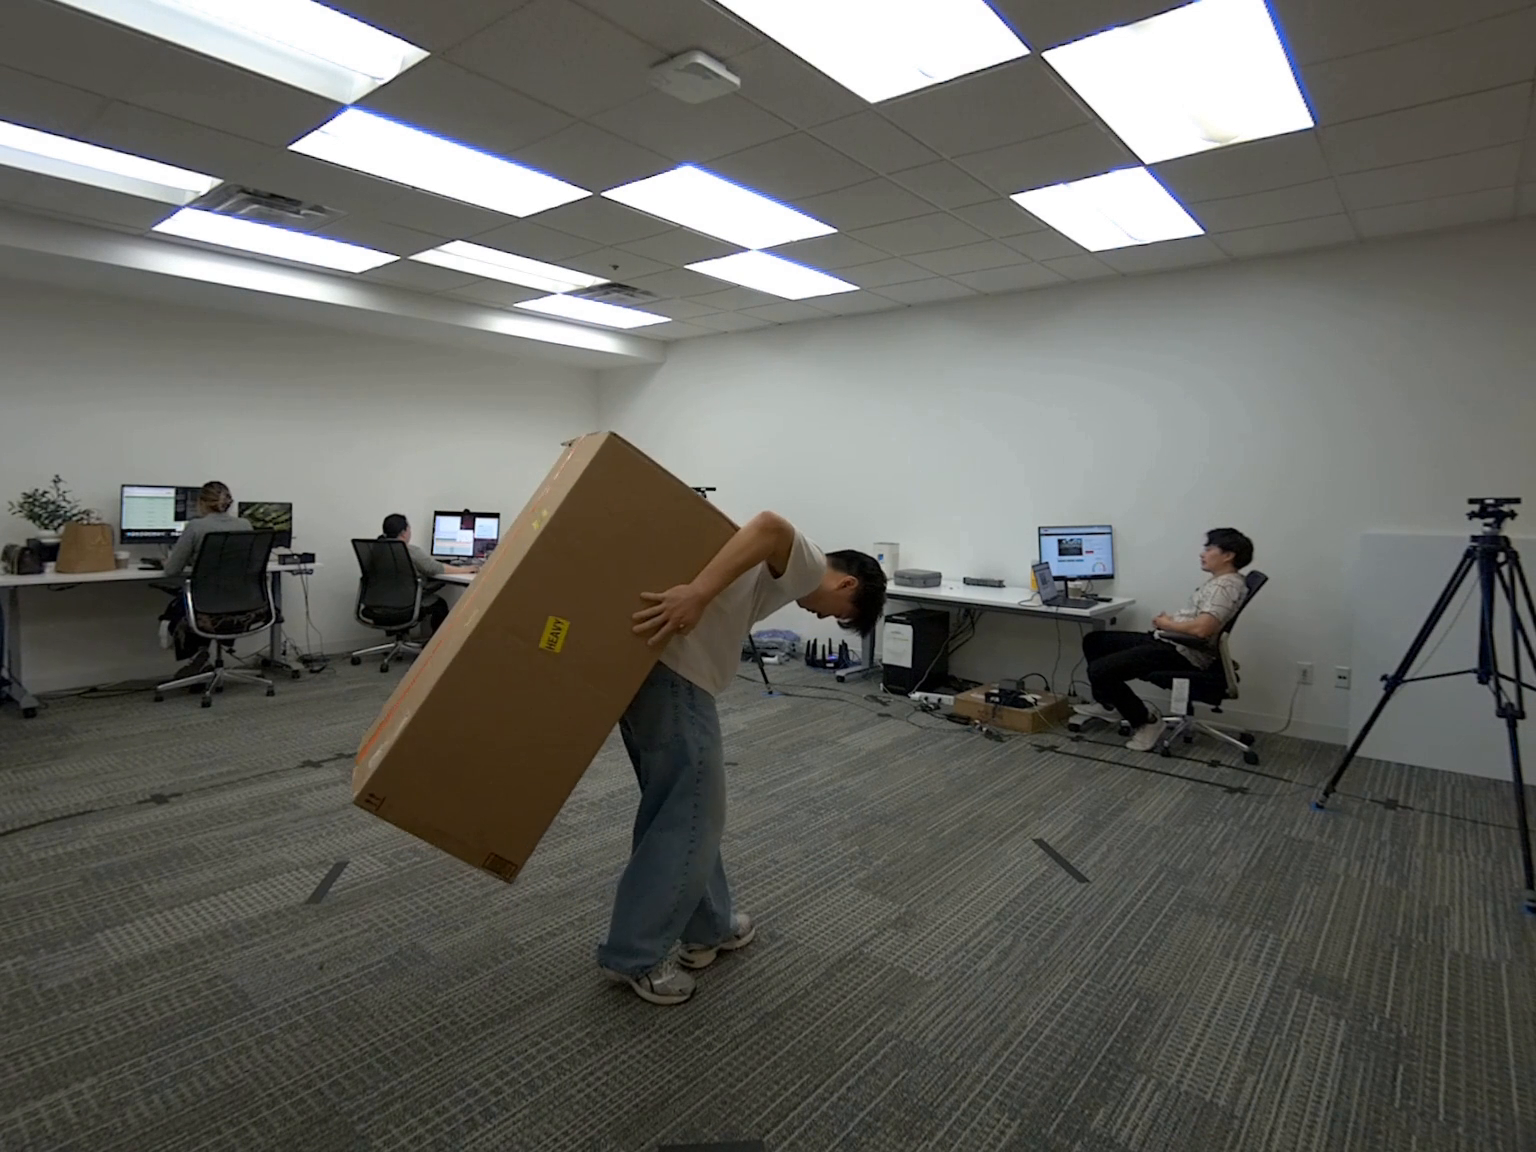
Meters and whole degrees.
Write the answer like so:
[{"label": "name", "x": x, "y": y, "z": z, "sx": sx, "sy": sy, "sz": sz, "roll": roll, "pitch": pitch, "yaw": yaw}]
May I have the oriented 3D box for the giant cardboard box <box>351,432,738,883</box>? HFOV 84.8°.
[{"label": "giant cardboard box", "x": -0.613, "y": 0.160, "z": 2.271, "sx": 0.414, "sy": 1.028, "sz": 0.593, "roll": 37, "pitch": -10, "yaw": -22}]
